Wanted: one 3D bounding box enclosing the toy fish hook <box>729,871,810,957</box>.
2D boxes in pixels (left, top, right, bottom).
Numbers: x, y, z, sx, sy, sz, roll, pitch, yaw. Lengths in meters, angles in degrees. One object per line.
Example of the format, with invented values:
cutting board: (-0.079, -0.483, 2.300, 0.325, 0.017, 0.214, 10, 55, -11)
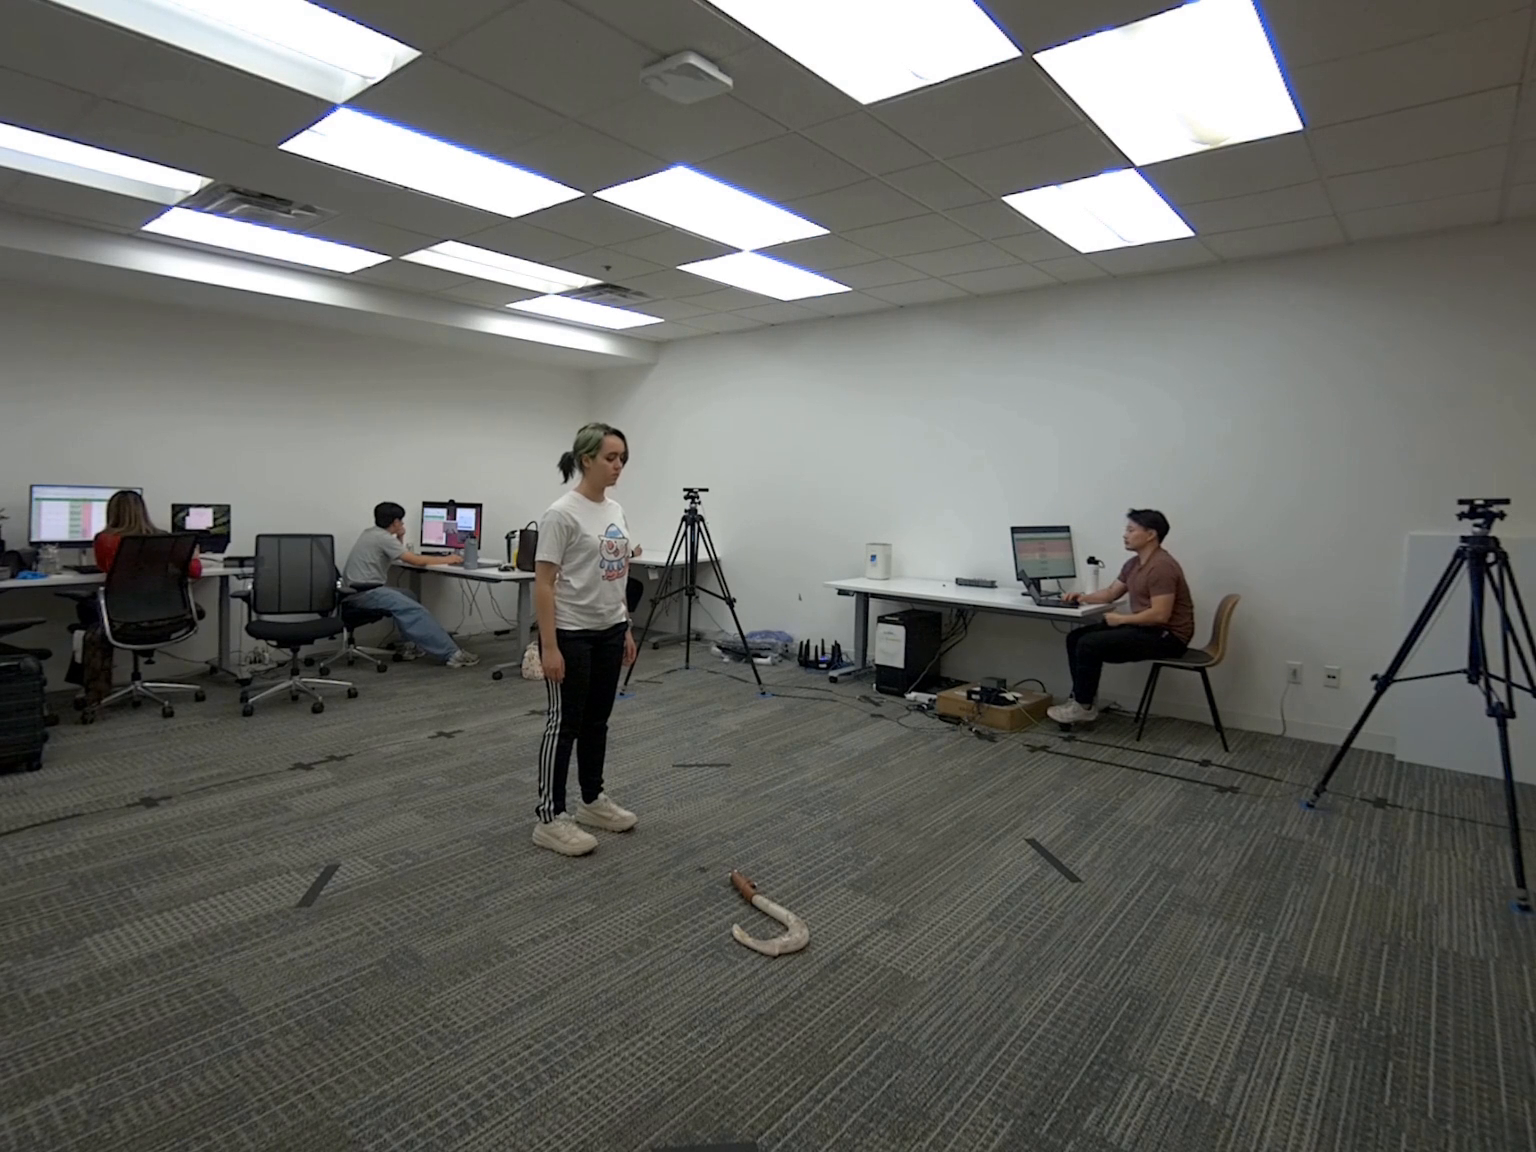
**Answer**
toy fish hook: (-0.063, 1.082, 2.765, 0.219, 0.048, 0.521, -1, 6, -27)
